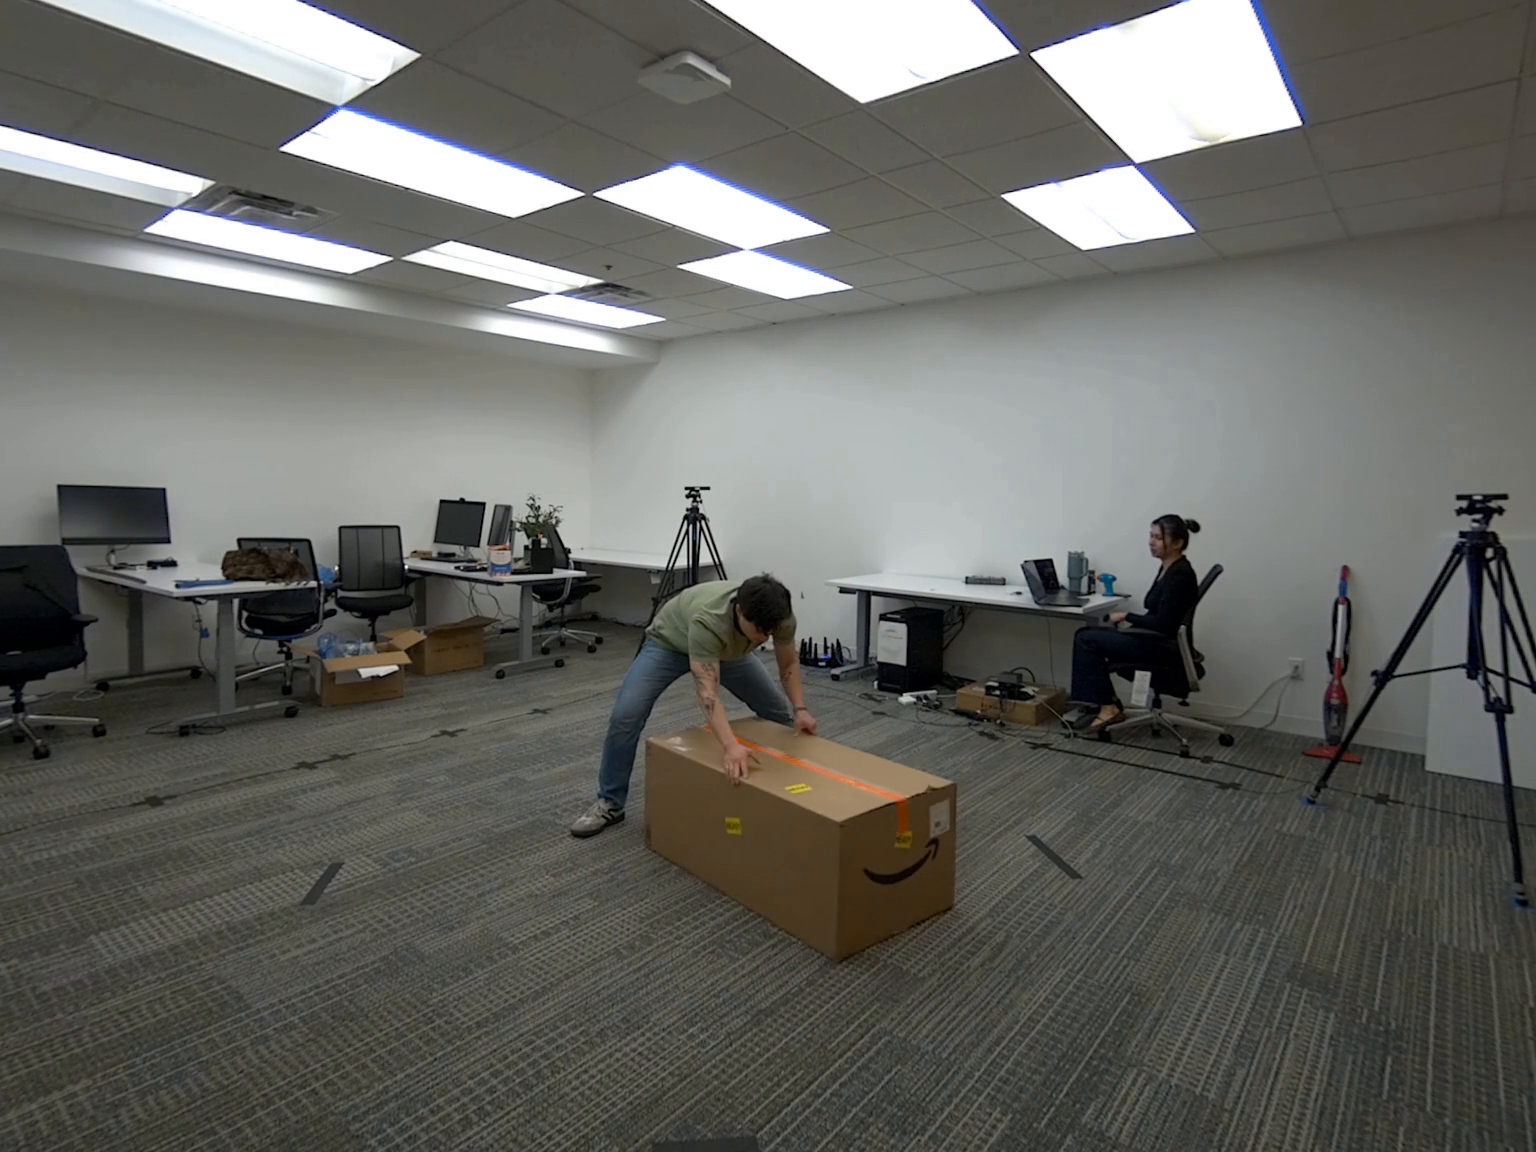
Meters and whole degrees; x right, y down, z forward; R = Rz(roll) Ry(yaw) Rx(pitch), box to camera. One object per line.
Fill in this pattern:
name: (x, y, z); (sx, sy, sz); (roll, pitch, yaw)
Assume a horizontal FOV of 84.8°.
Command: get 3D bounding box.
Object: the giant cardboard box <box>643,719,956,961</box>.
giant cardboard box: (0.067, 0.861, 3.055); (0.560, 0.424, 1.061); (-4, 7, -40)
